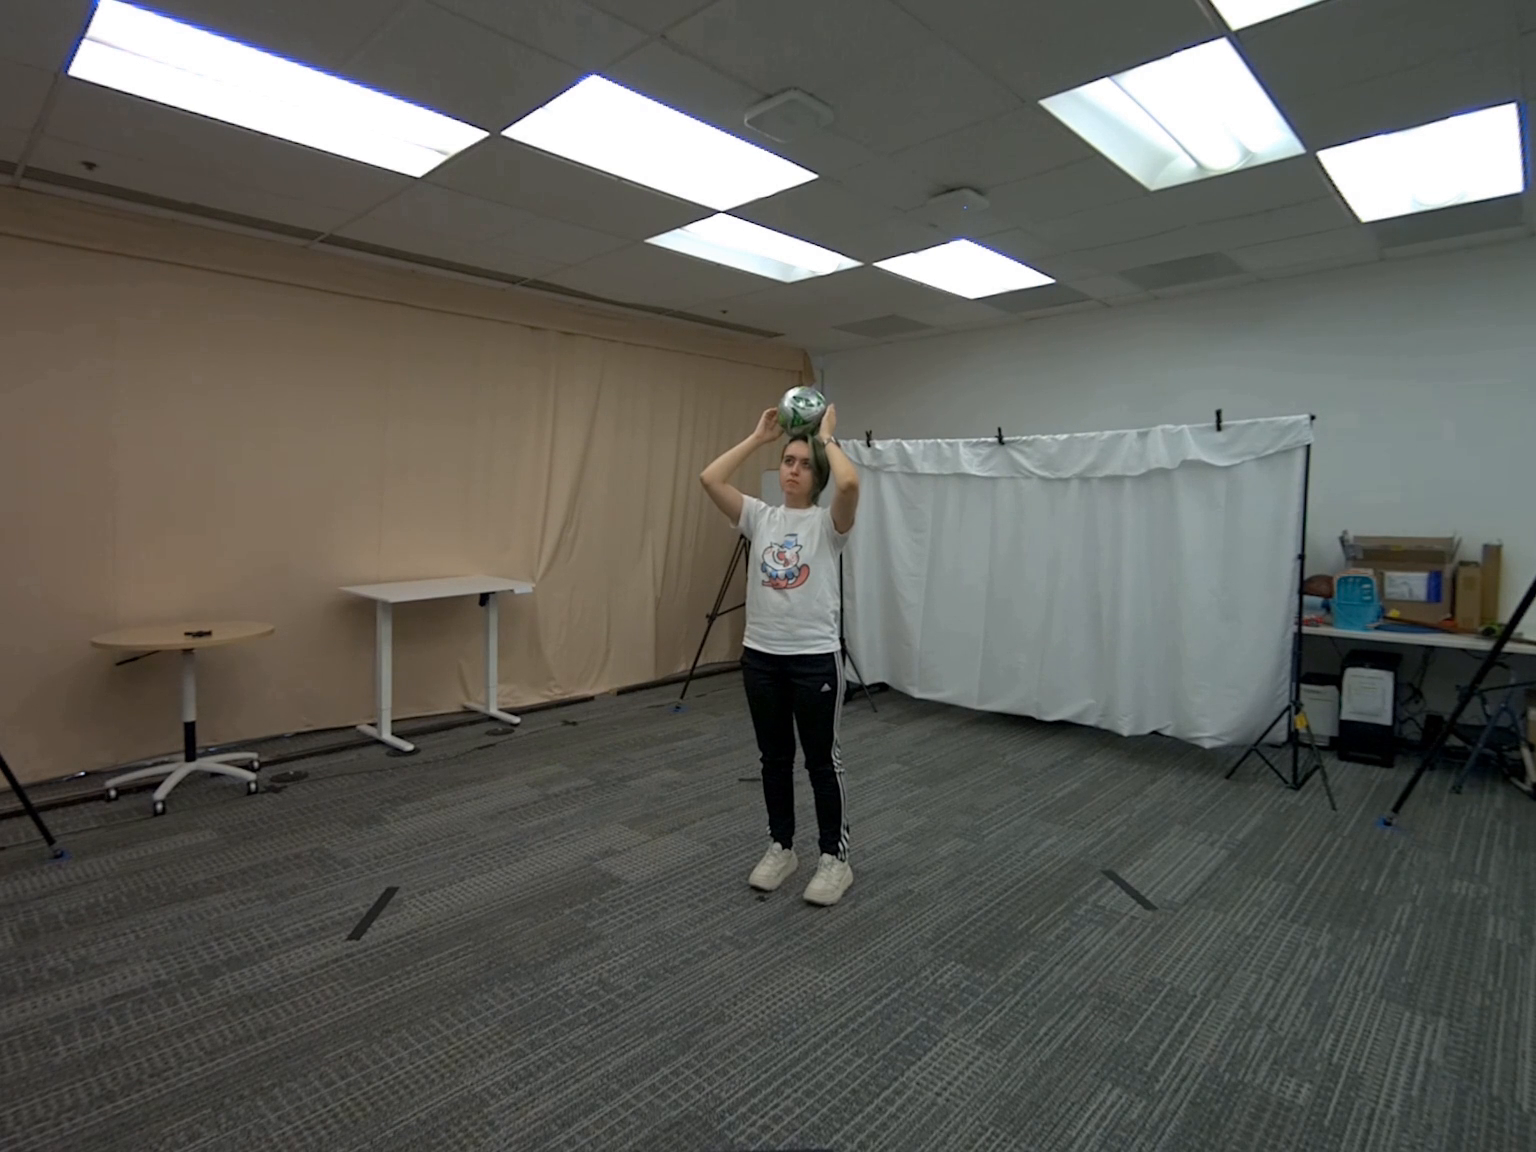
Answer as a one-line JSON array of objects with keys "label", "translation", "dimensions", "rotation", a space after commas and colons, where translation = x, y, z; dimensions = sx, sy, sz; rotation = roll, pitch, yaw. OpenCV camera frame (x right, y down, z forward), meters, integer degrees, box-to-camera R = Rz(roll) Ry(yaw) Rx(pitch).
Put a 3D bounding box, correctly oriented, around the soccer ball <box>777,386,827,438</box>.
[{"label": "soccer ball", "translation": [0.131, -0.585, 3.036], "dimensions": [0.187, 0.187, 0.188], "rotation": [0, 4, -2]}]
